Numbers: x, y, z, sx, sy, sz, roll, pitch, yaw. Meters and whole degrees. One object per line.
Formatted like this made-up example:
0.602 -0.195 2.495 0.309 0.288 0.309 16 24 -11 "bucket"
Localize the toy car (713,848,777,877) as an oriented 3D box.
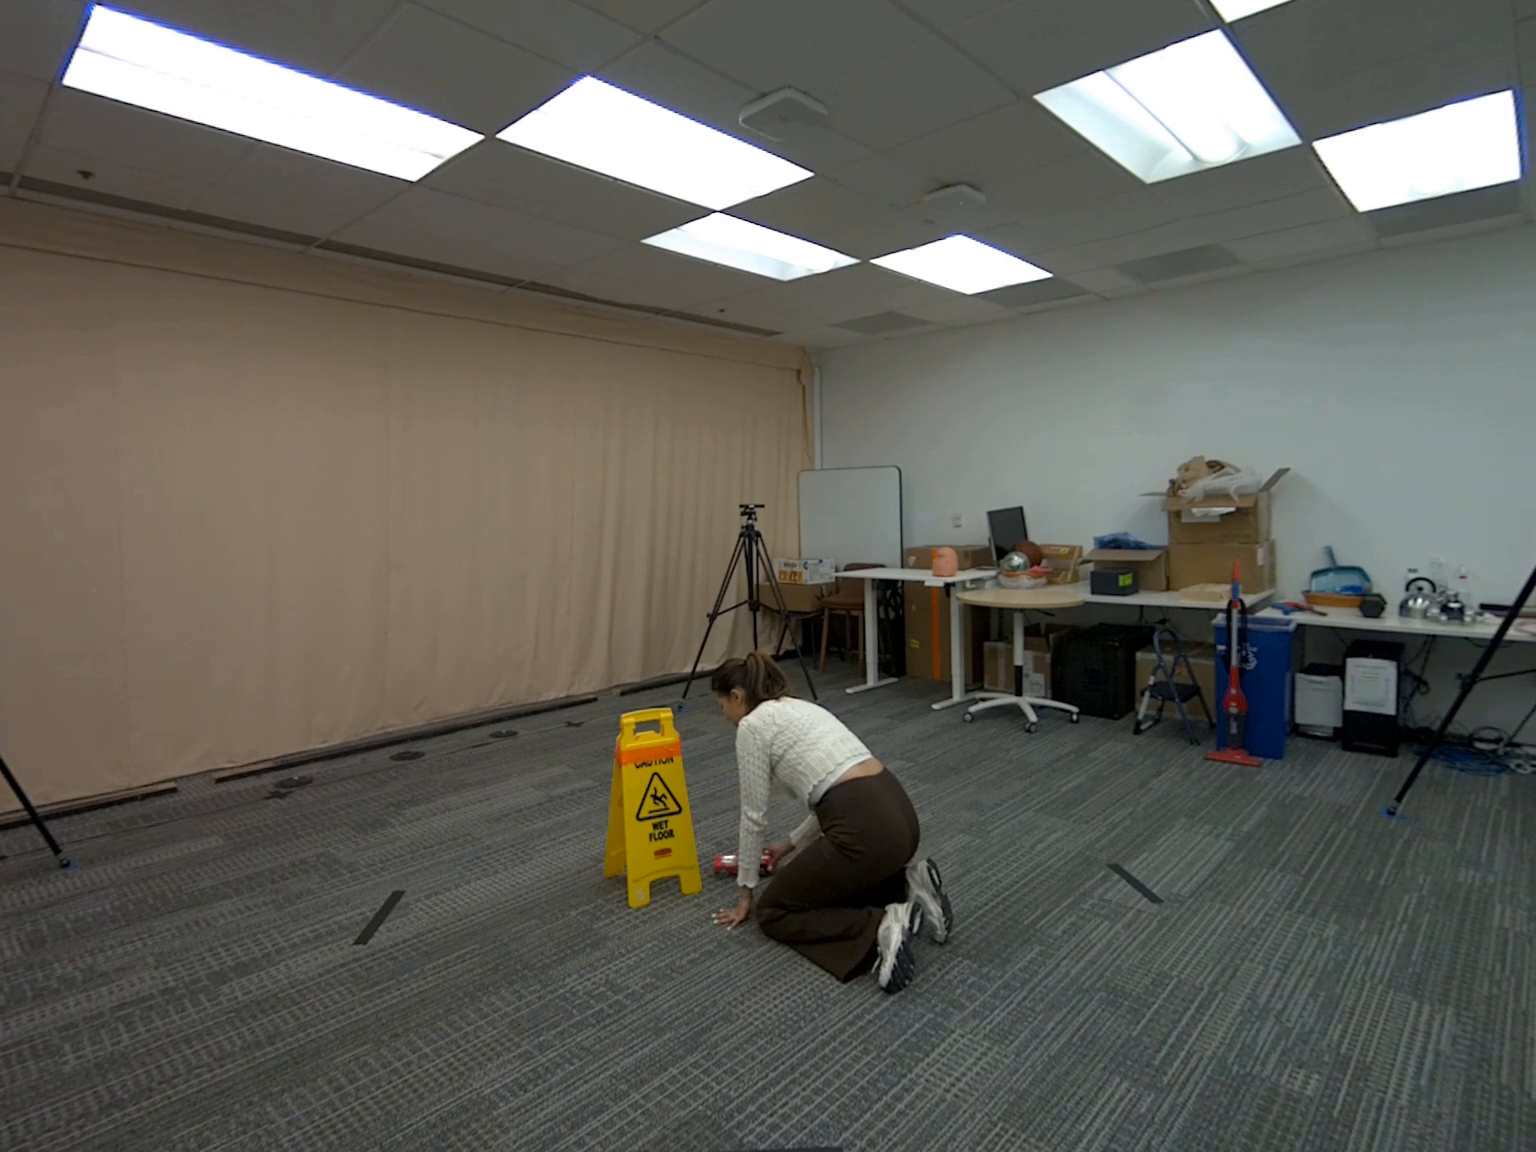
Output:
-0.053 1.084 3.181 0.253 0.083 0.131 -14 -1 -5 "toy car"
